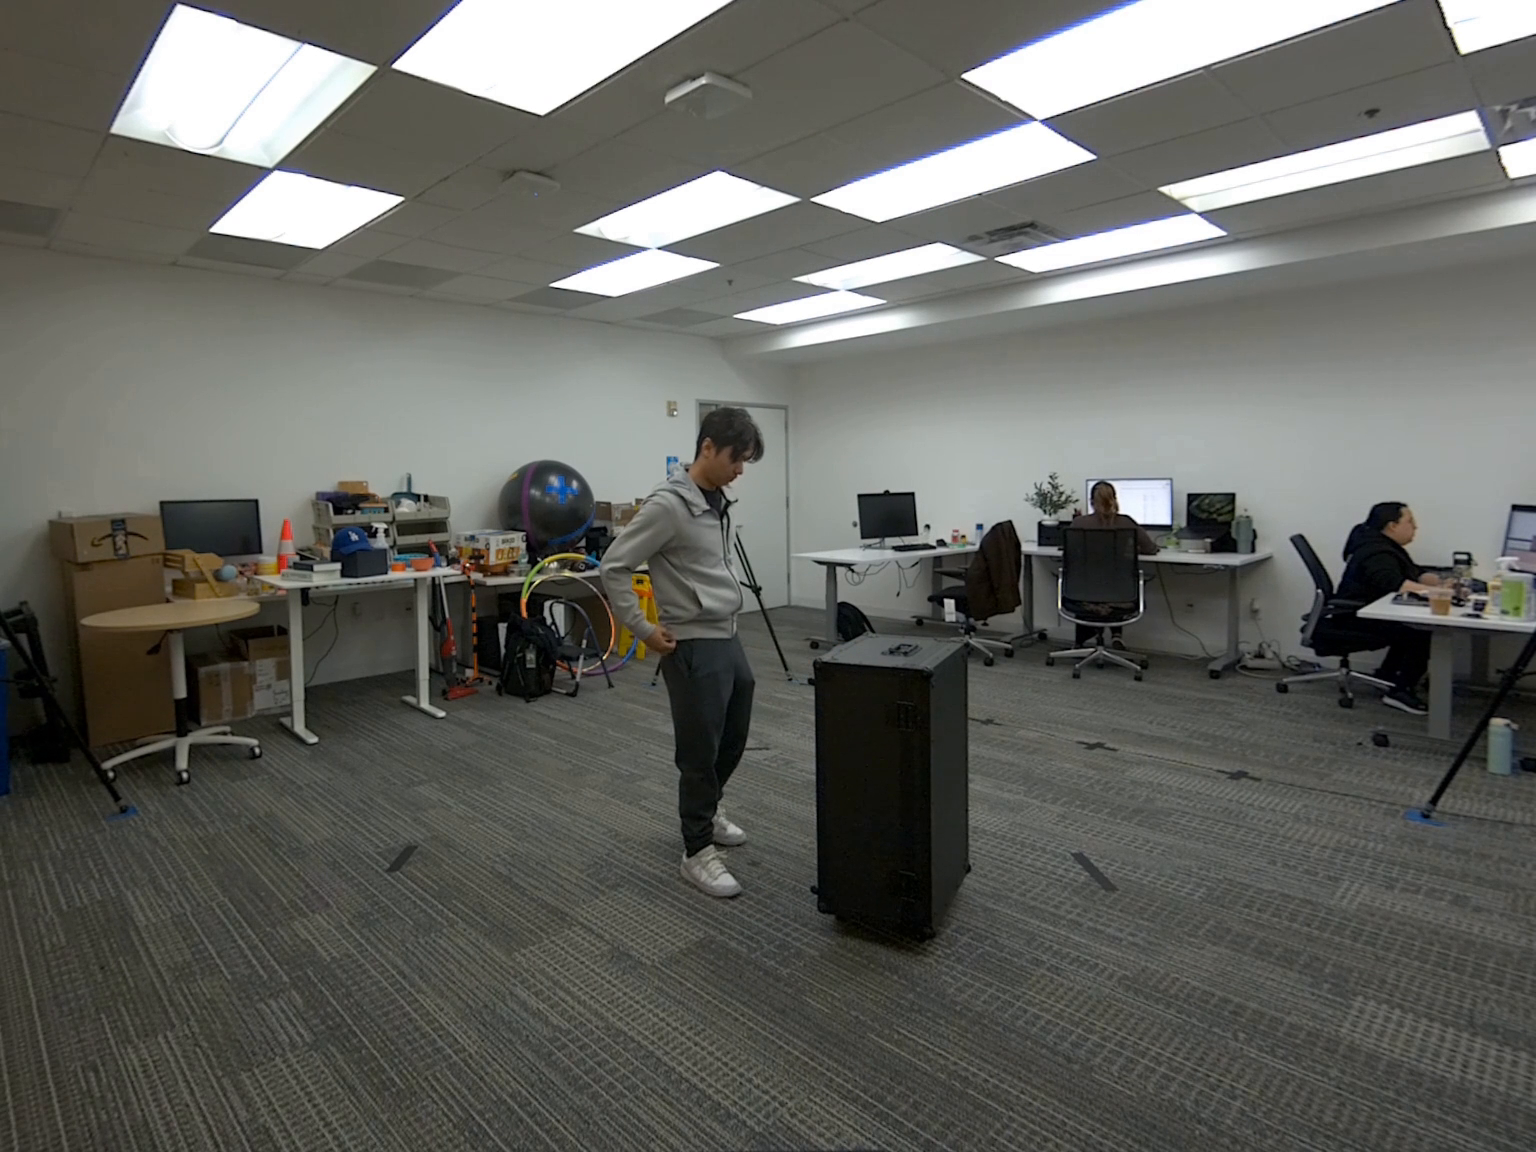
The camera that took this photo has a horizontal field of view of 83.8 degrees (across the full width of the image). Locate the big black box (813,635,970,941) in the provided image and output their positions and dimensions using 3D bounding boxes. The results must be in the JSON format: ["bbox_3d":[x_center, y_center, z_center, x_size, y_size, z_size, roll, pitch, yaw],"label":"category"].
[{"bbox_3d":[0.400,0.659,2.714,0.406,0.859,0.510,0,4,27],"label":"big black box"}]
